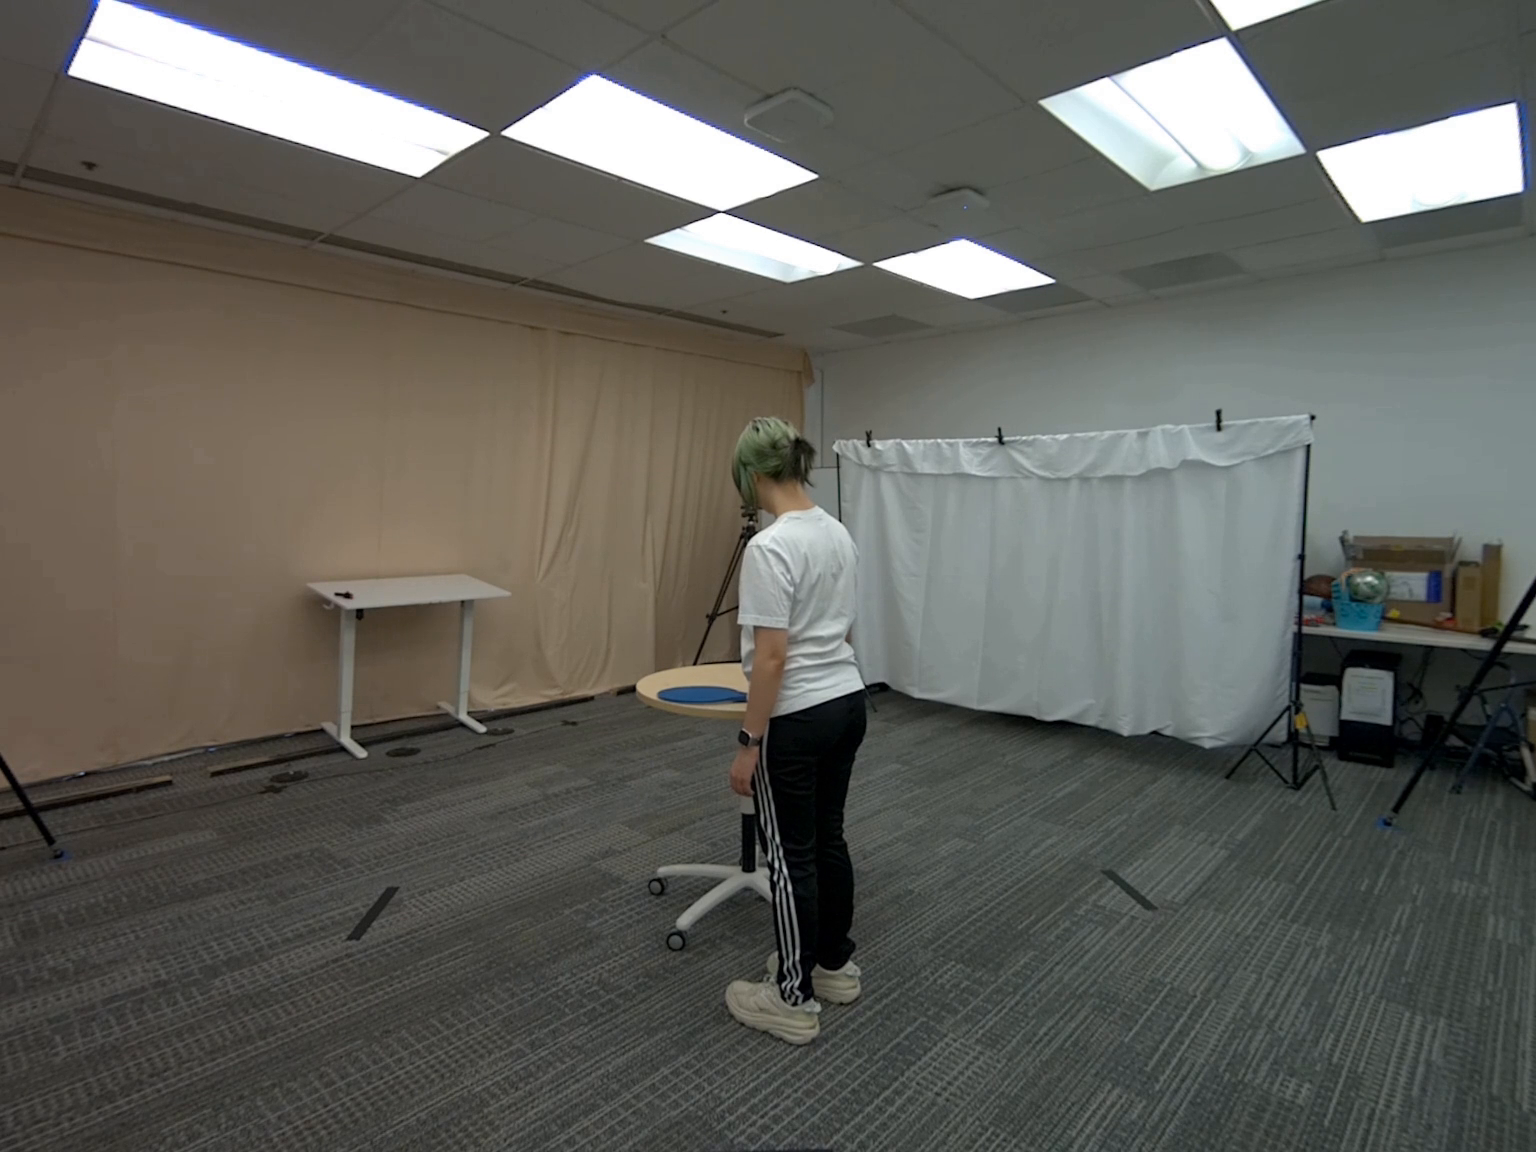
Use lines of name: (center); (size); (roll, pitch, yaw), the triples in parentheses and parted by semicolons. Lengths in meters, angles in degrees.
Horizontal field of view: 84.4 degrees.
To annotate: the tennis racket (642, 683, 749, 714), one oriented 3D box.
tennis racket: (-0.149, 0.378, 2.613); (0.444, 0.032, 0.208); (1, 2, 26)
